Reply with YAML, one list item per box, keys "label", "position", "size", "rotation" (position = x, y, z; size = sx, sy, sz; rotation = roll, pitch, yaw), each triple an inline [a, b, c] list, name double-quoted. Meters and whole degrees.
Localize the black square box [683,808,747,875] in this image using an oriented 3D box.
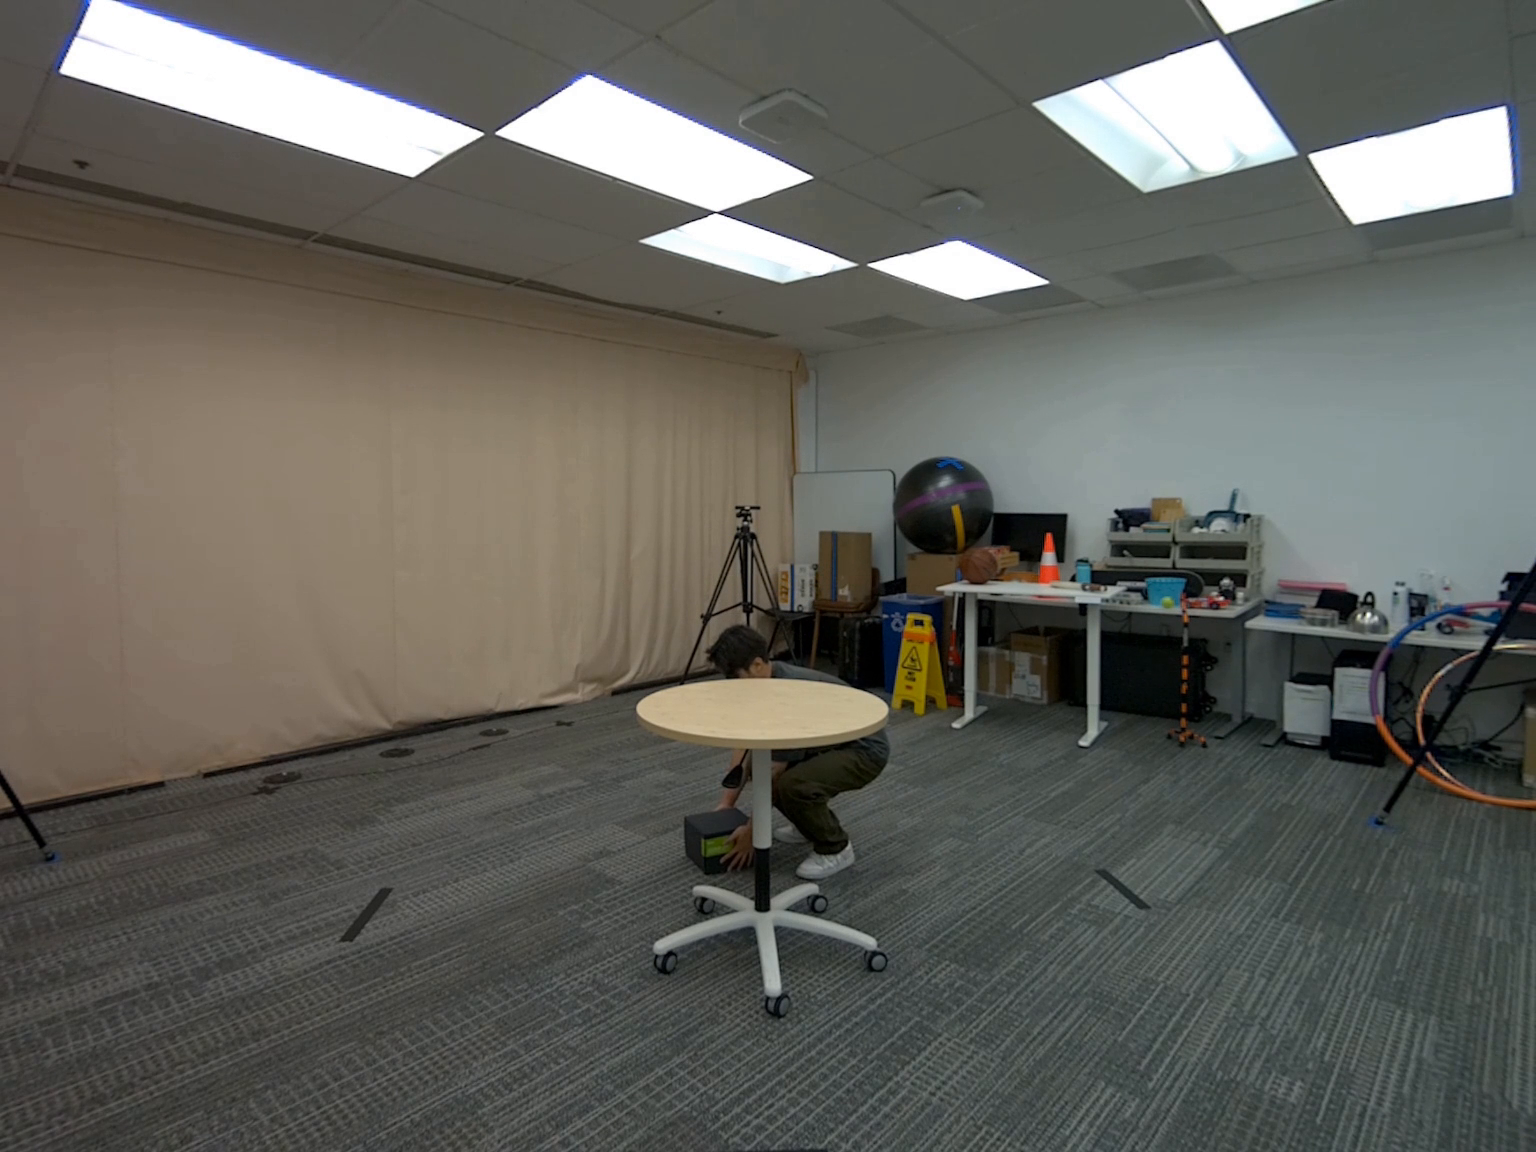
- label: "black square box"
  position: [-0.182, 1.034, 3.313]
  size: [0.222, 0.155, 0.223]
  rotation: [-3, 5, -26]
